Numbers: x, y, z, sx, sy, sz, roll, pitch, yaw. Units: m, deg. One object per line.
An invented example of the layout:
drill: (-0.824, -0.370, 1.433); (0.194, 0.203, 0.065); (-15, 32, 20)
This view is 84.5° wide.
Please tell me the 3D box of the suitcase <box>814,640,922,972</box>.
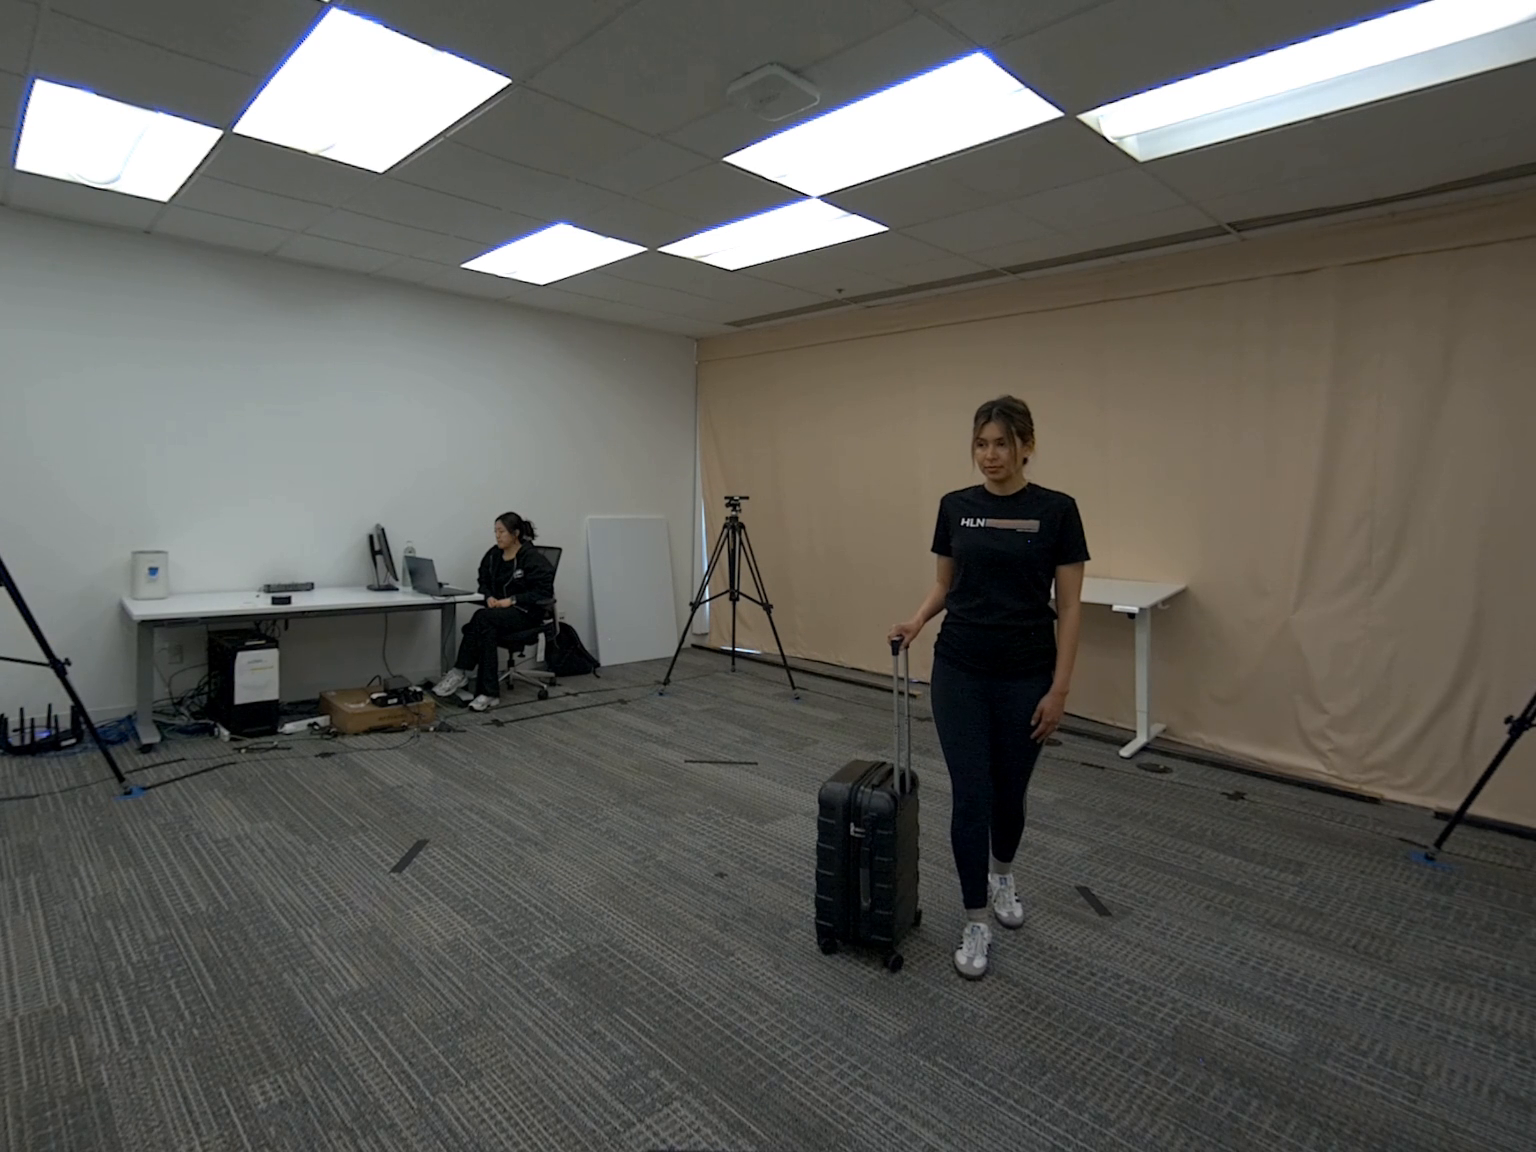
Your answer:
suitcase: (0.305, 0.686, 2.642); (0.261, 0.976, 0.378); (-1, 4, 23)
